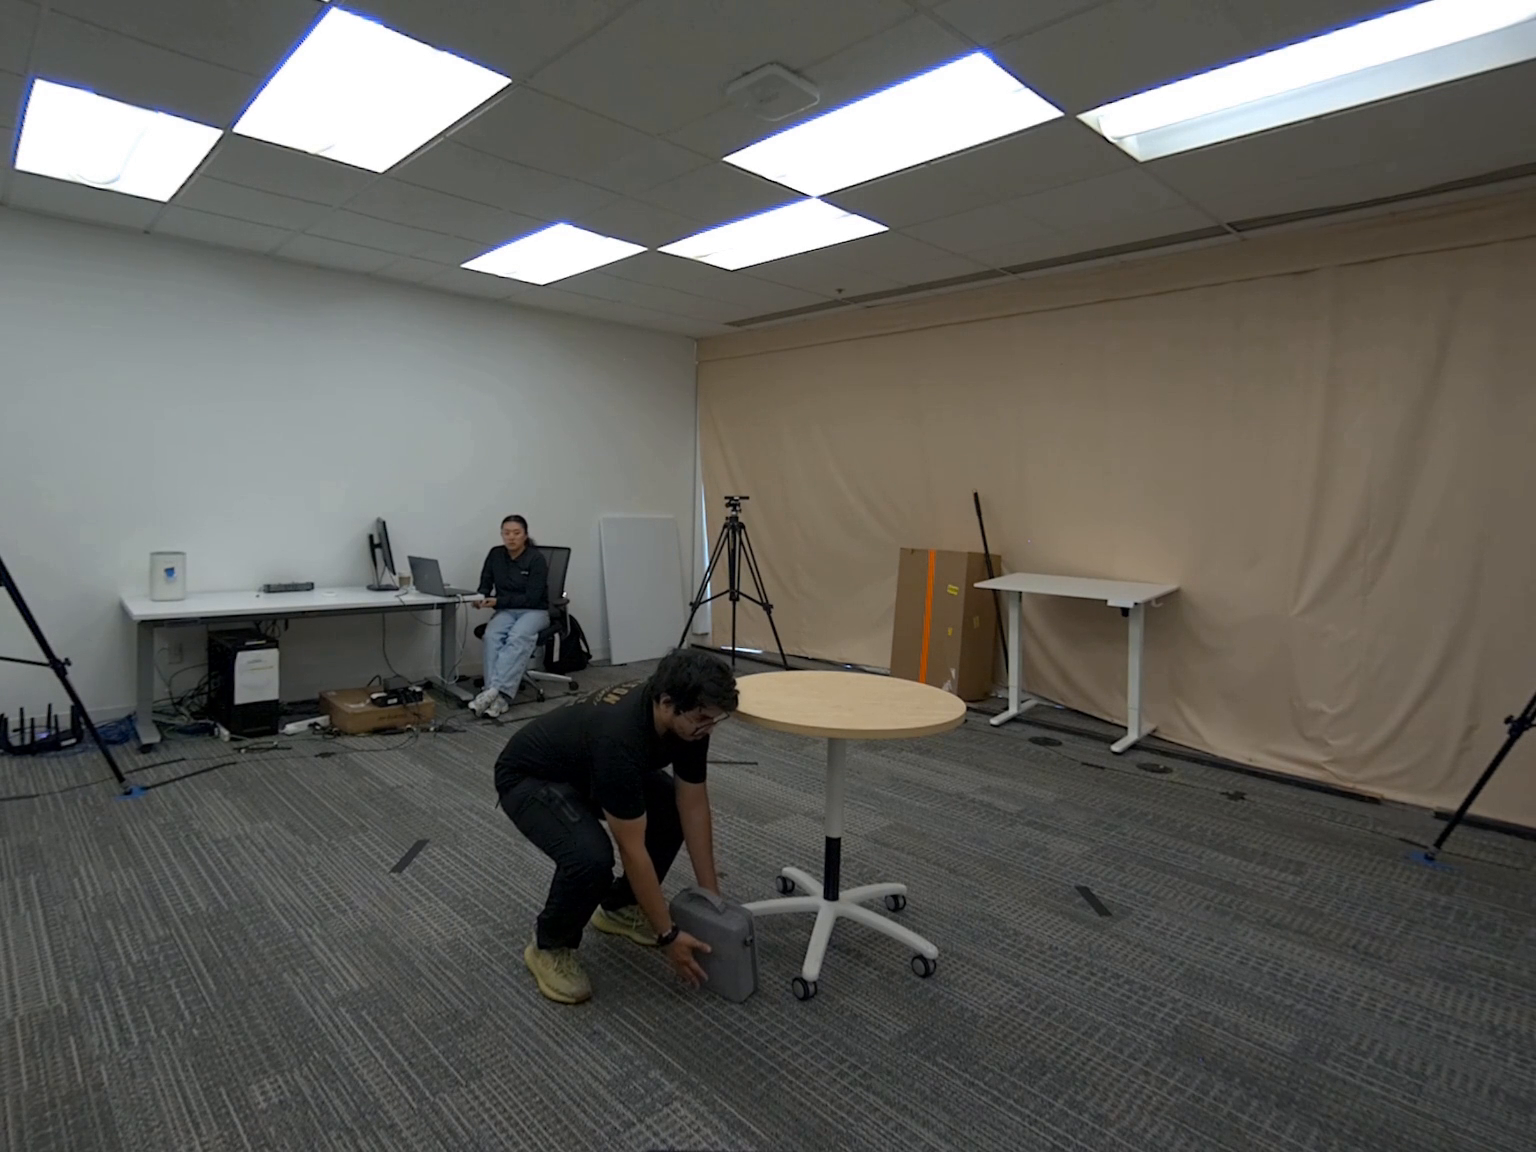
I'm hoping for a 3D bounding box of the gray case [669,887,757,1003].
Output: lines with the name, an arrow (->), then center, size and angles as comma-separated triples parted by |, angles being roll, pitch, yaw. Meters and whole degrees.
gray case -> -0.155, 1.048, 2.377 | 0.263, 0.258, 0.103 | 5, 14, 36
